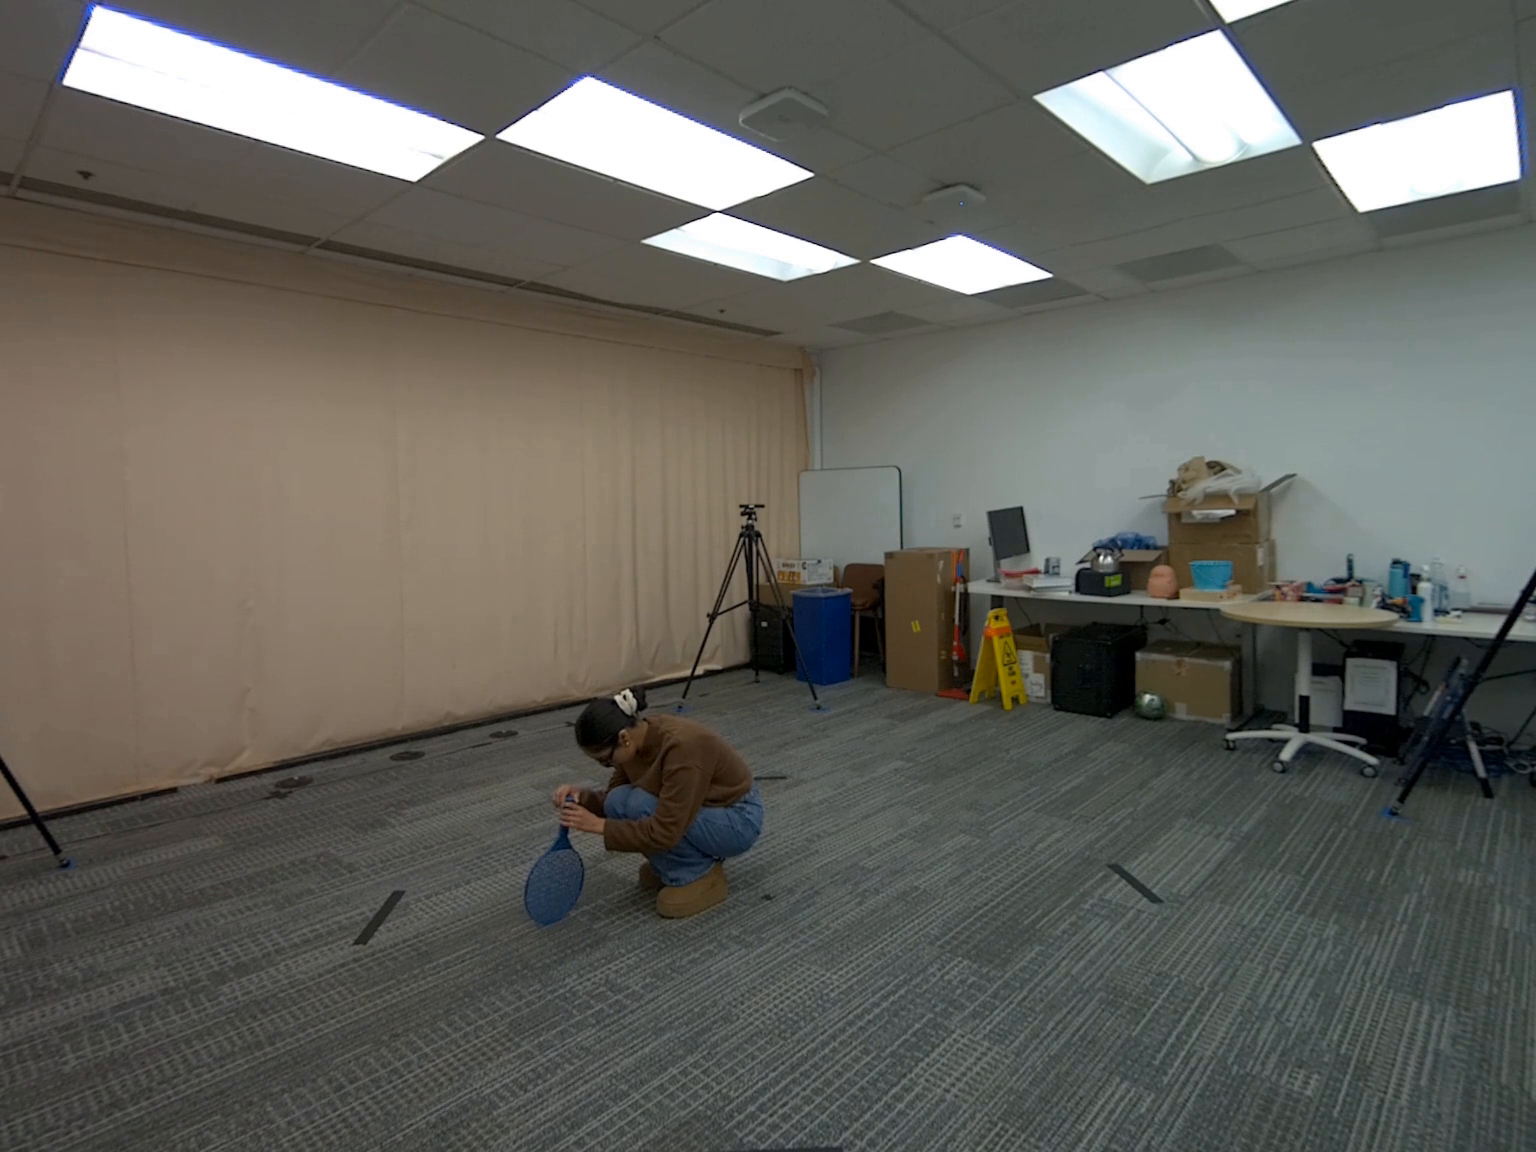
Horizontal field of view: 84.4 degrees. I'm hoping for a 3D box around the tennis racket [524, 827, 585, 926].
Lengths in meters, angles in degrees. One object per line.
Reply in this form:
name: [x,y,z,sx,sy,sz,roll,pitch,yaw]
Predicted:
tennis racket: [-0.701,0.959,2.825,0.207,0.433,0.033,8,1,-37]
